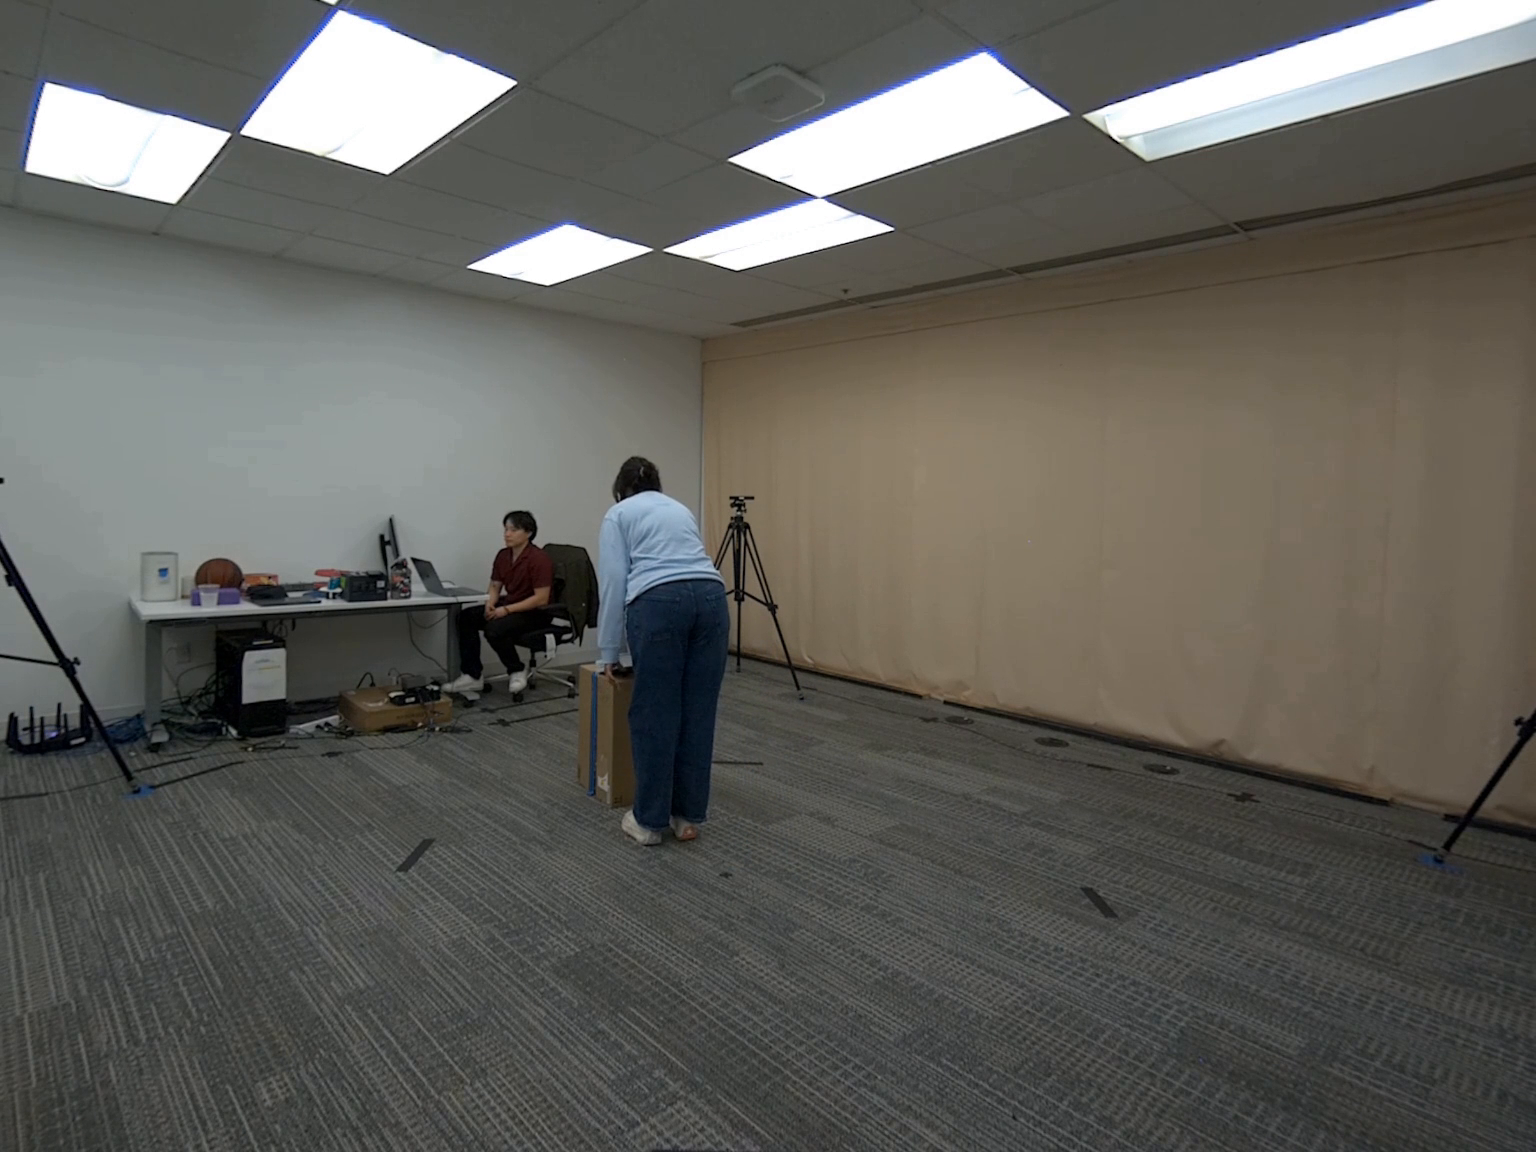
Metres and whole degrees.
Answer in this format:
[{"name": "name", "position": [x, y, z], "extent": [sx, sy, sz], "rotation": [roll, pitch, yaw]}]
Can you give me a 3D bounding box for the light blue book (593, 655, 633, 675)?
[{"name": "light blue book", "position": [-0.659, 0.398, 3.869], "extent": [0.187, 0.059, 0.264], "rotation": [-3, -8, -35]}]
